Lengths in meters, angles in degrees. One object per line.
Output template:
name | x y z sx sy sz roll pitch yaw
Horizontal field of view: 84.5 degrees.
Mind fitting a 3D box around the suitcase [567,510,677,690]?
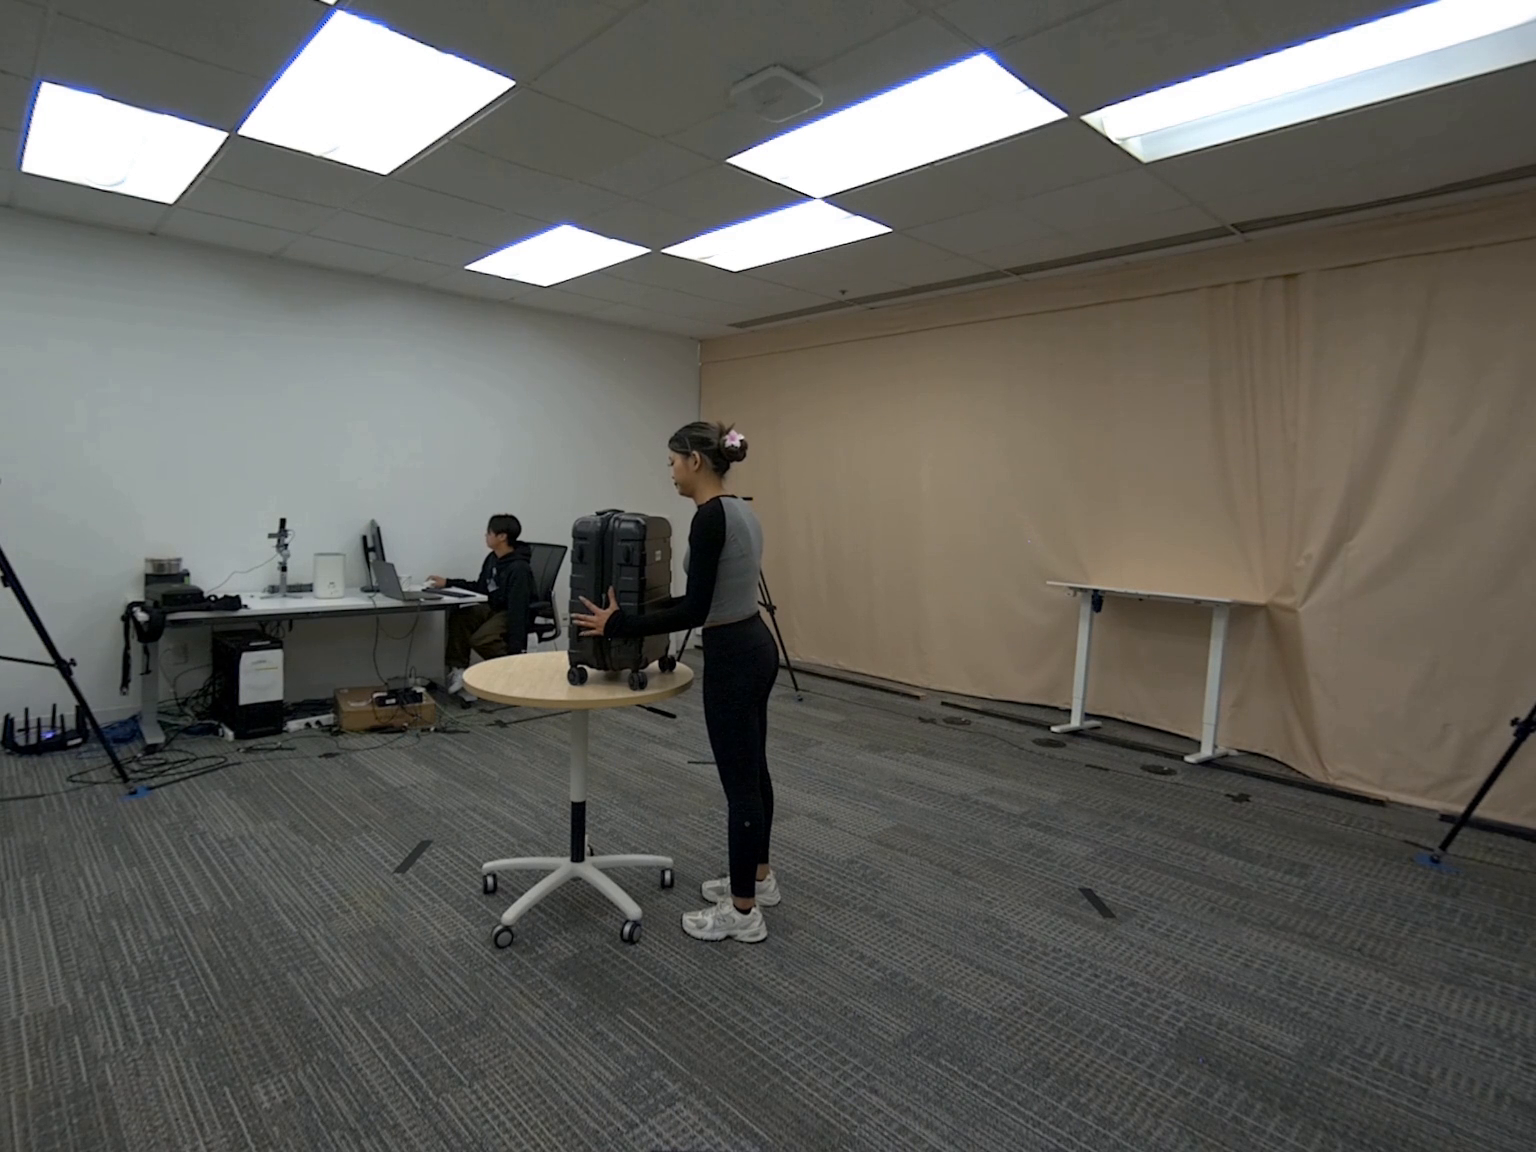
suitcase | -0.482 0.059 2.790 0.251 0.548 0.372 2 3 12
